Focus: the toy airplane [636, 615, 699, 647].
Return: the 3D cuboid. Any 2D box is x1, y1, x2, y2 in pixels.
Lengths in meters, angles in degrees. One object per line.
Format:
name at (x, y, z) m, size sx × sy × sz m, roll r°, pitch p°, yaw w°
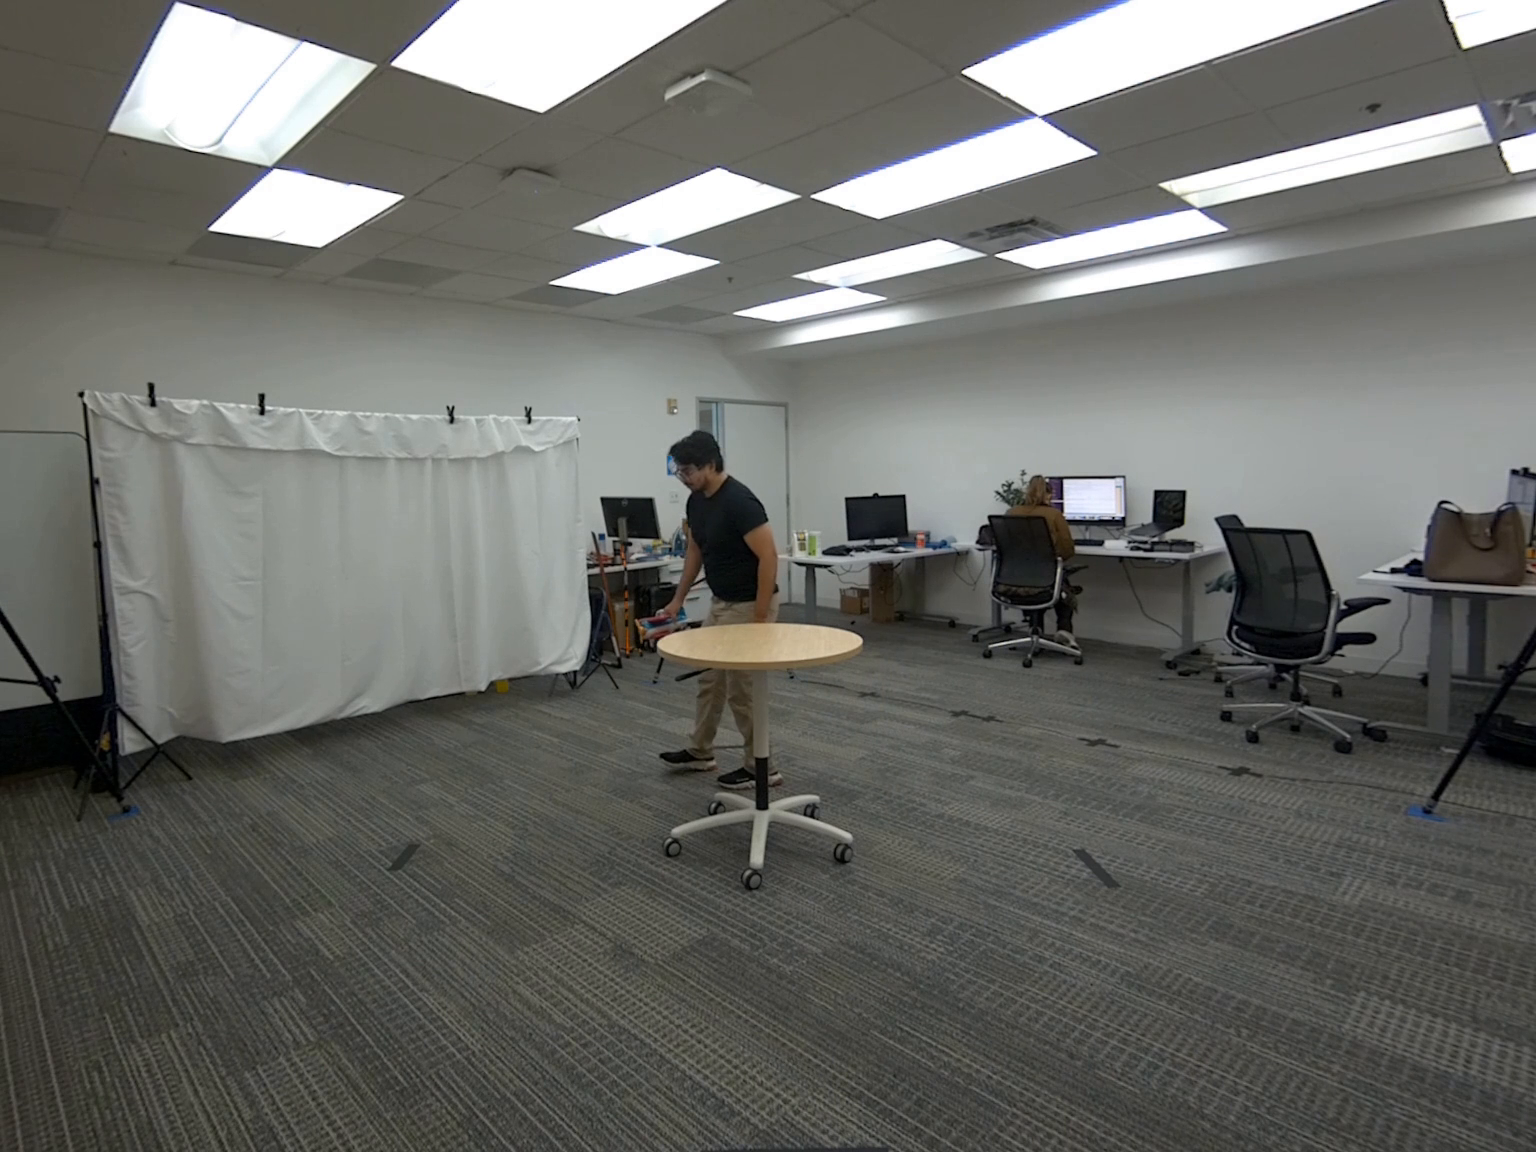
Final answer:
toy airplane at (-0.496, 0.250, 4.091) m, size 0.255 × 0.155 × 0.257 m, roll -18°, pitch 9°, yaw 33°
